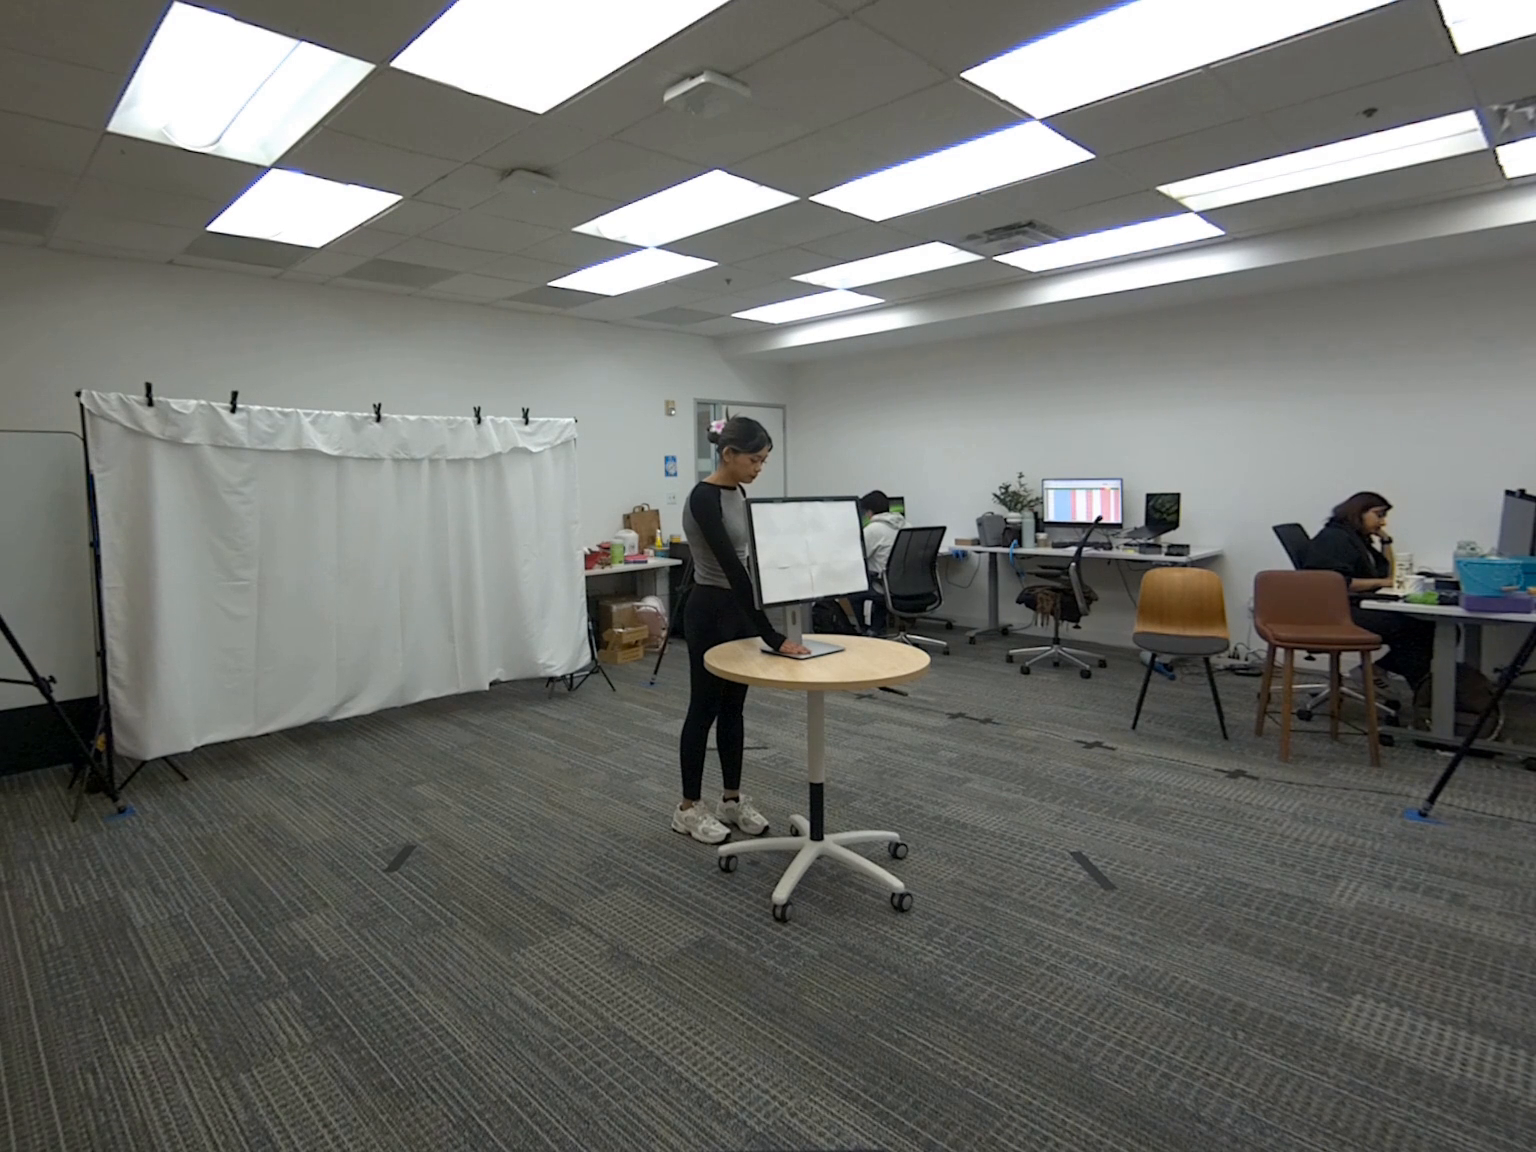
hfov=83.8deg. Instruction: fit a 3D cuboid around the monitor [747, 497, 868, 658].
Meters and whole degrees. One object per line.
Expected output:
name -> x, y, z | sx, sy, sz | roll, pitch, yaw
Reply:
monitor -> 0.121, -0.003, 2.981 | 0.525, 0.520, 0.193 | -5, 7, -44
